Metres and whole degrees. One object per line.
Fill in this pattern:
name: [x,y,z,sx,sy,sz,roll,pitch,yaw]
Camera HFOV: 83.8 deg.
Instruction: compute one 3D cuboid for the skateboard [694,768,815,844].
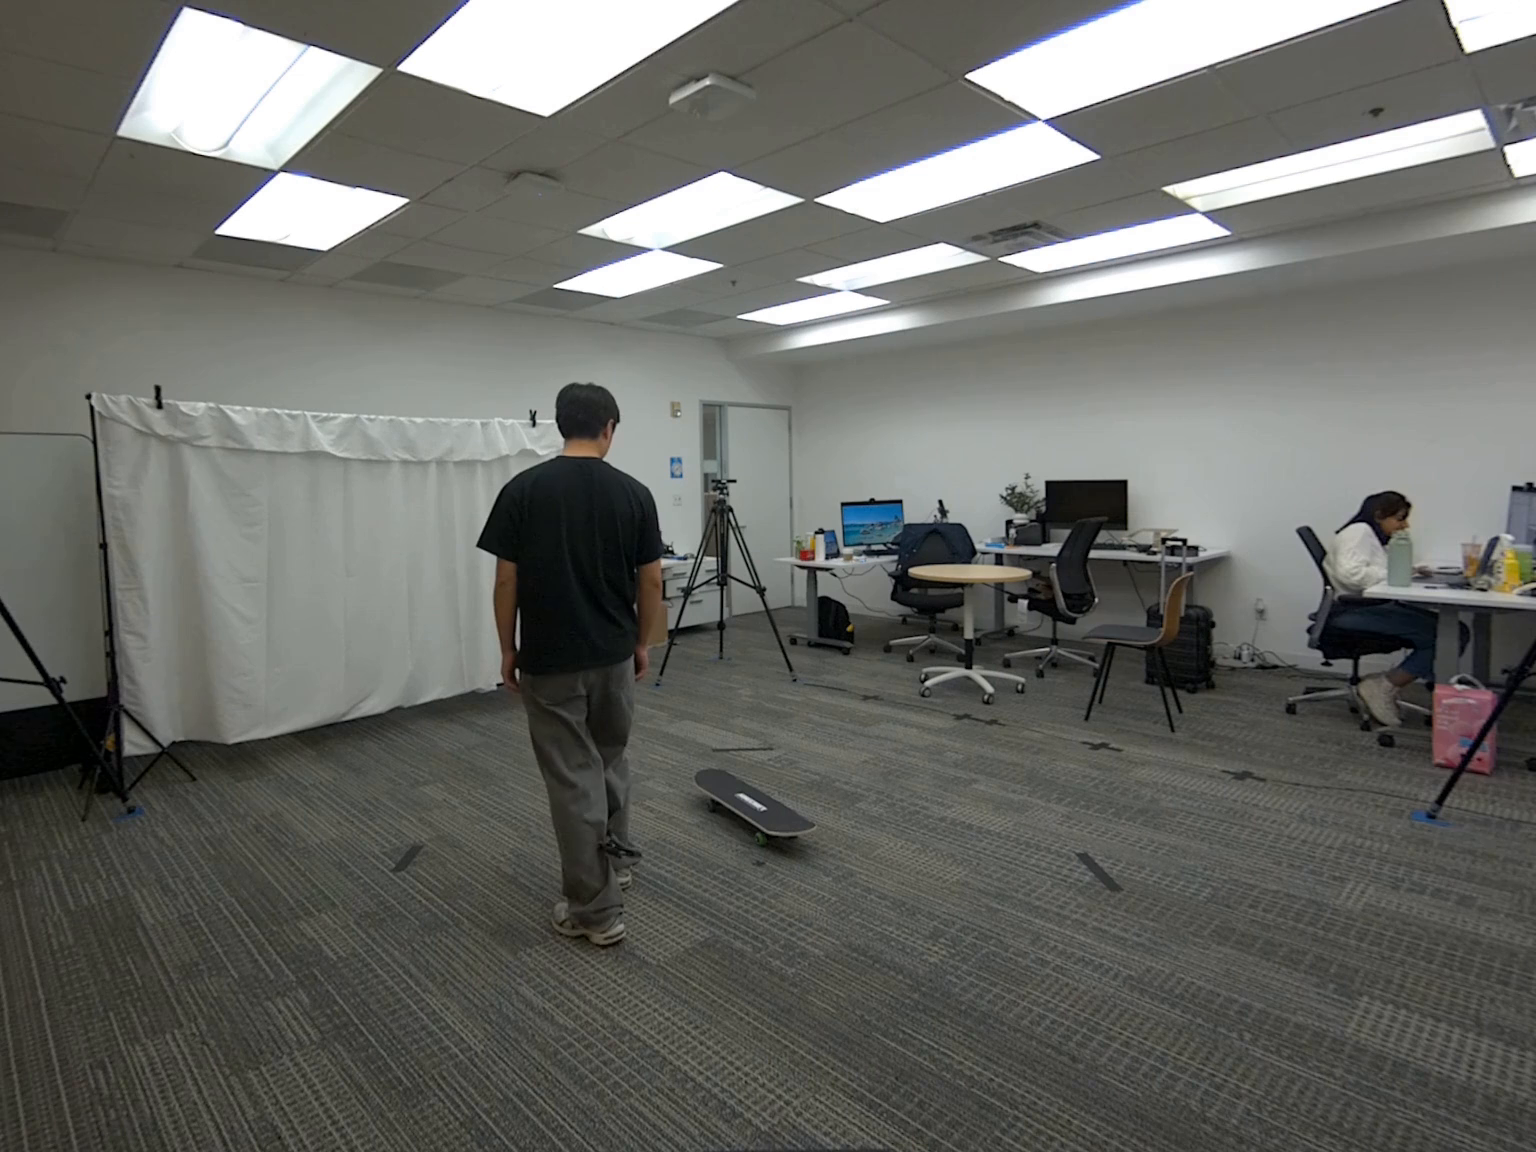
skateboard: [-0.067,0.949,3.472,0.189,0.110,0.808,-5,7,-31]
